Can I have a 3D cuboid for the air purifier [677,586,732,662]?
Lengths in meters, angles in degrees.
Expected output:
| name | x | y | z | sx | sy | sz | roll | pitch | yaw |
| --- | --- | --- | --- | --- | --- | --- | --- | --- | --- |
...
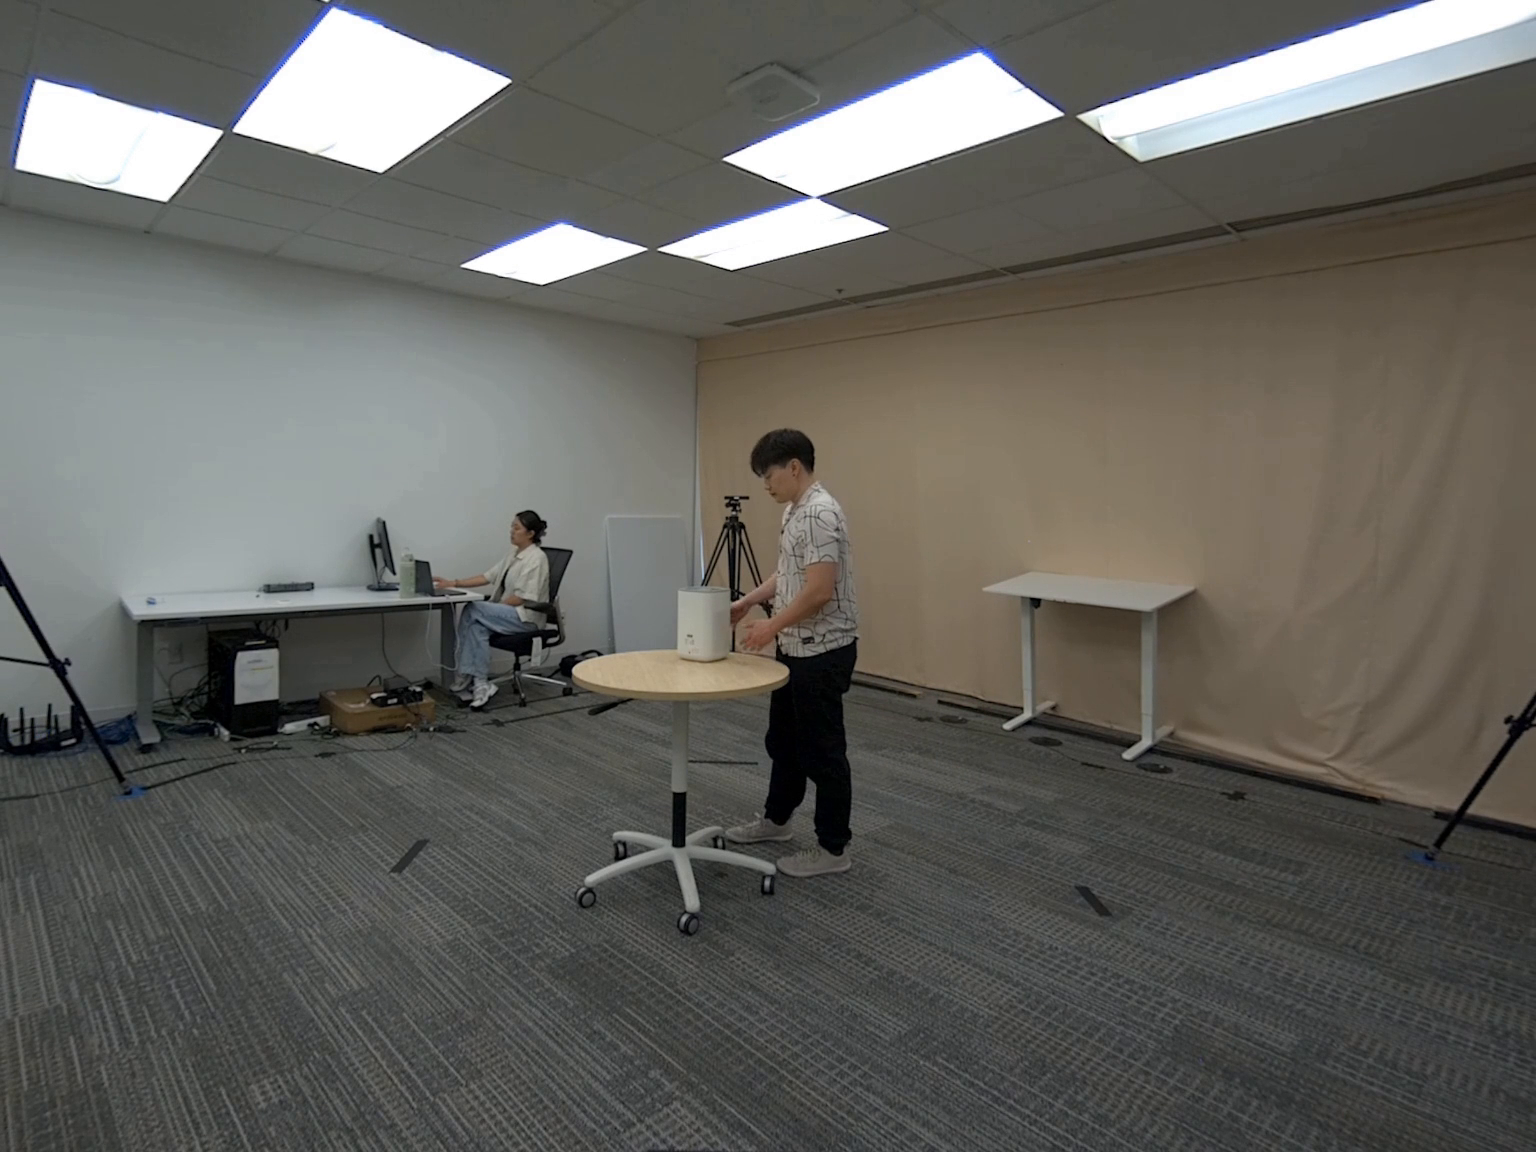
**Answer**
| name | x | y | z | sx | sy | sz | roll | pitch | yaw |
| --- | --- | --- | --- | --- | --- | --- | --- | --- | --- |
| air purifier | -0.241 | 0.179 | 3.180 | 0.175 | 0.265 | 0.168 | 3 | 3 | 30 |
